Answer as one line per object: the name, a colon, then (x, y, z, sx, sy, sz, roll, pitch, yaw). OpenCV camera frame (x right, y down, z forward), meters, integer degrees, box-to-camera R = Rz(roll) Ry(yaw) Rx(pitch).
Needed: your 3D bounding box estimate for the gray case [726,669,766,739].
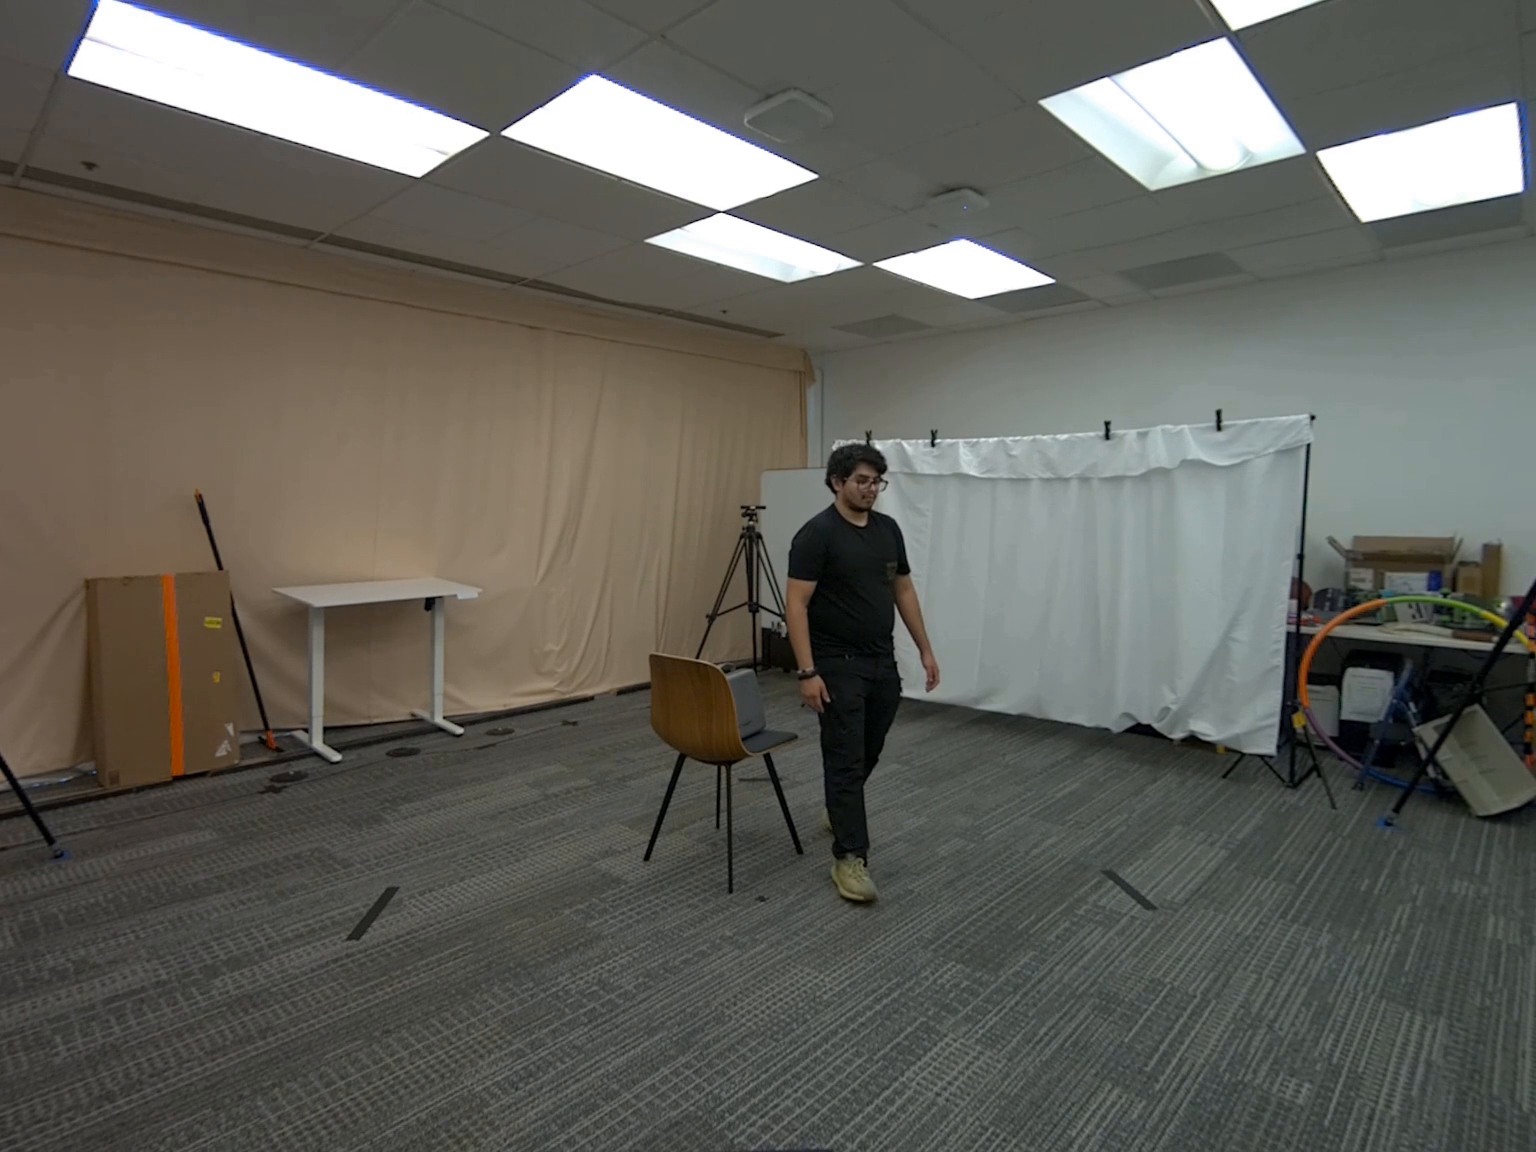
gray case: (-0.131, 0.511, 3.335, 0.107, 0.261, 0.250, -15, -2, 39)
